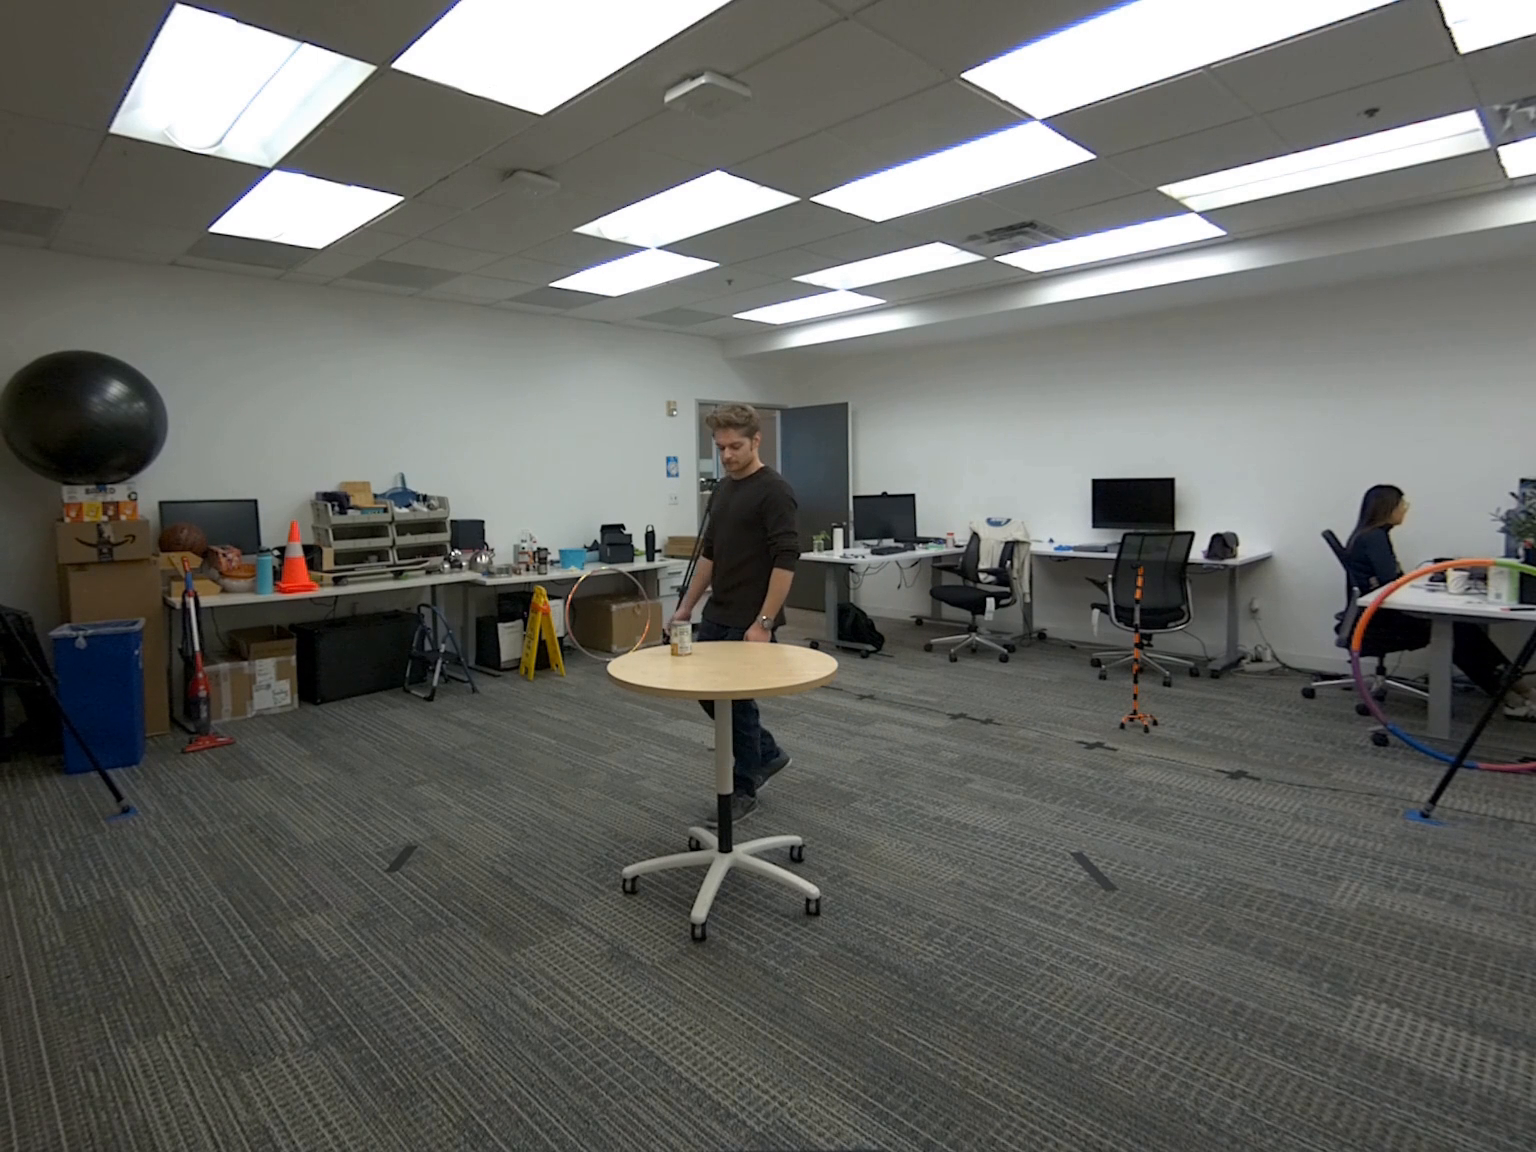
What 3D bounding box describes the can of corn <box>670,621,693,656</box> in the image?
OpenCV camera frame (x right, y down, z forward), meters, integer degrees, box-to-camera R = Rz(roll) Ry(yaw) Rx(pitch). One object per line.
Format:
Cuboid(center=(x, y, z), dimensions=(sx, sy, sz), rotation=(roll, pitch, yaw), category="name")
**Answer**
Cuboid(center=(-0.310, 0.222, 3.005), dimensions=(0.074, 0.111, 0.074), rotation=(2, 4, -2), category="can of corn")
